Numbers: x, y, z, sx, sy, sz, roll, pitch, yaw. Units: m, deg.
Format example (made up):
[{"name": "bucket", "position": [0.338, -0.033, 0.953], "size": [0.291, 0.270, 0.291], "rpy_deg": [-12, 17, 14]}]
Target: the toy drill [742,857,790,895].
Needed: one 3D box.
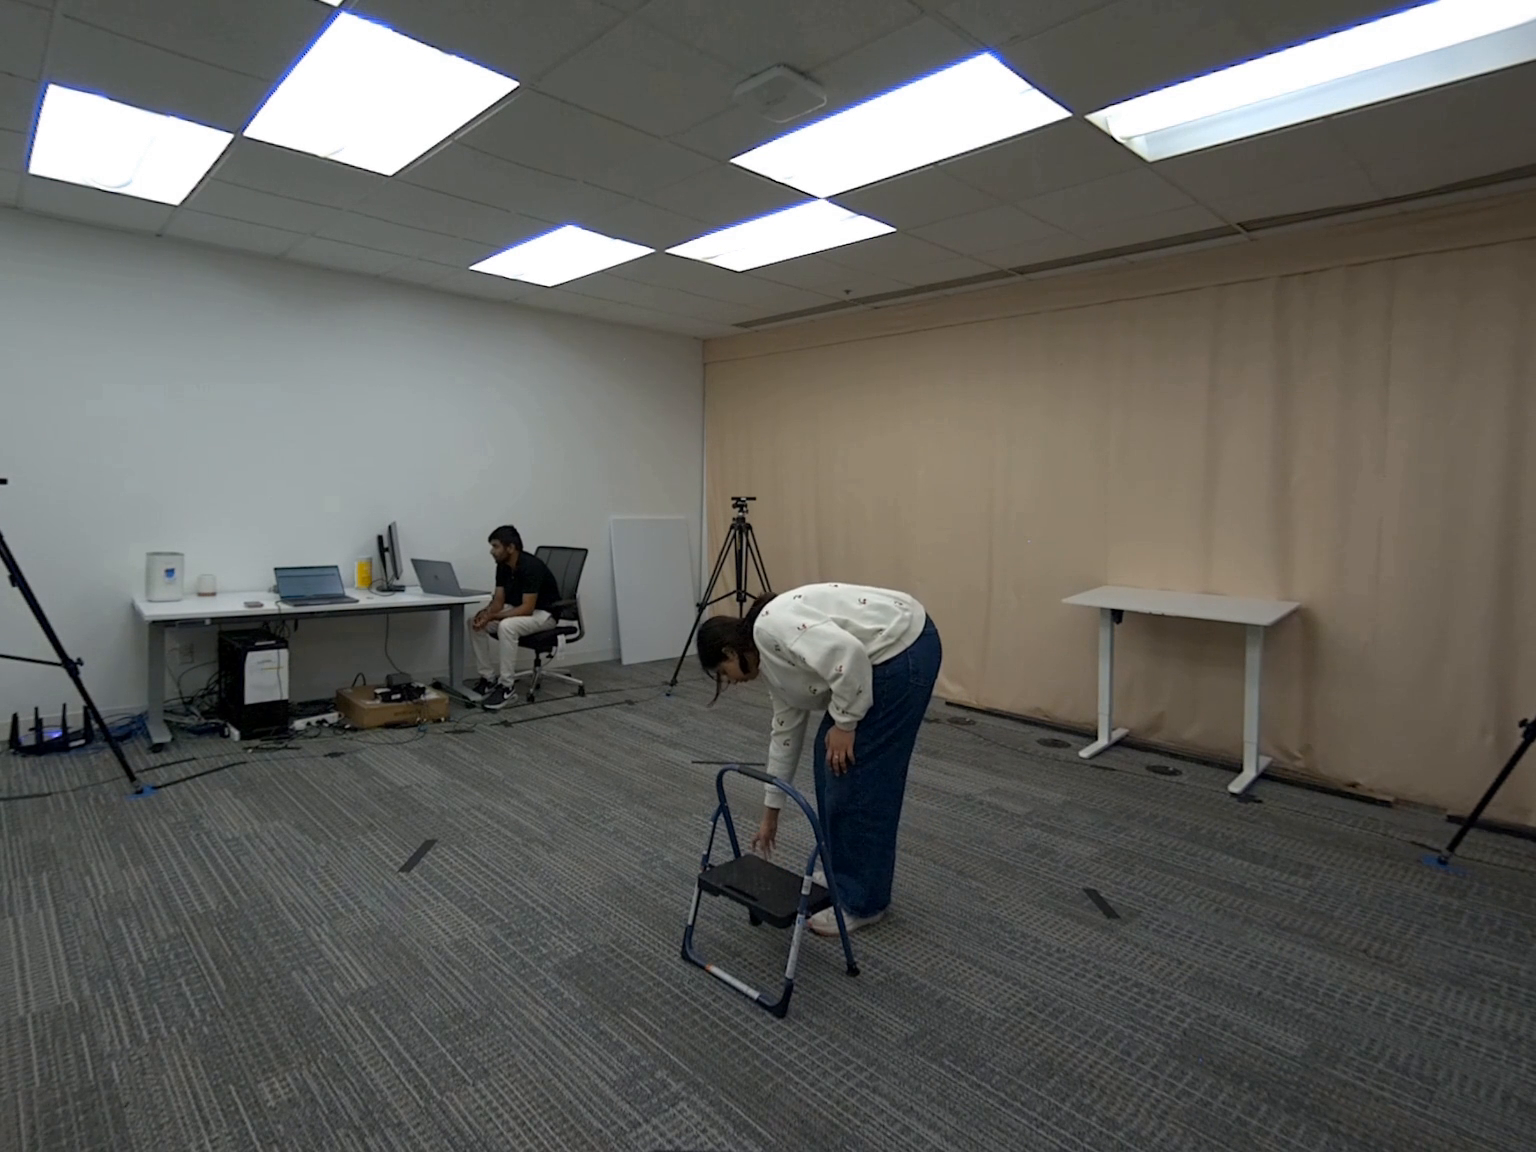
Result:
[{"name": "toy drill", "position": [-0.012, 1.085, 3.075], "size": [0.145, 0.061, 0.171], "rpy_deg": [2, 4, -8]}]
